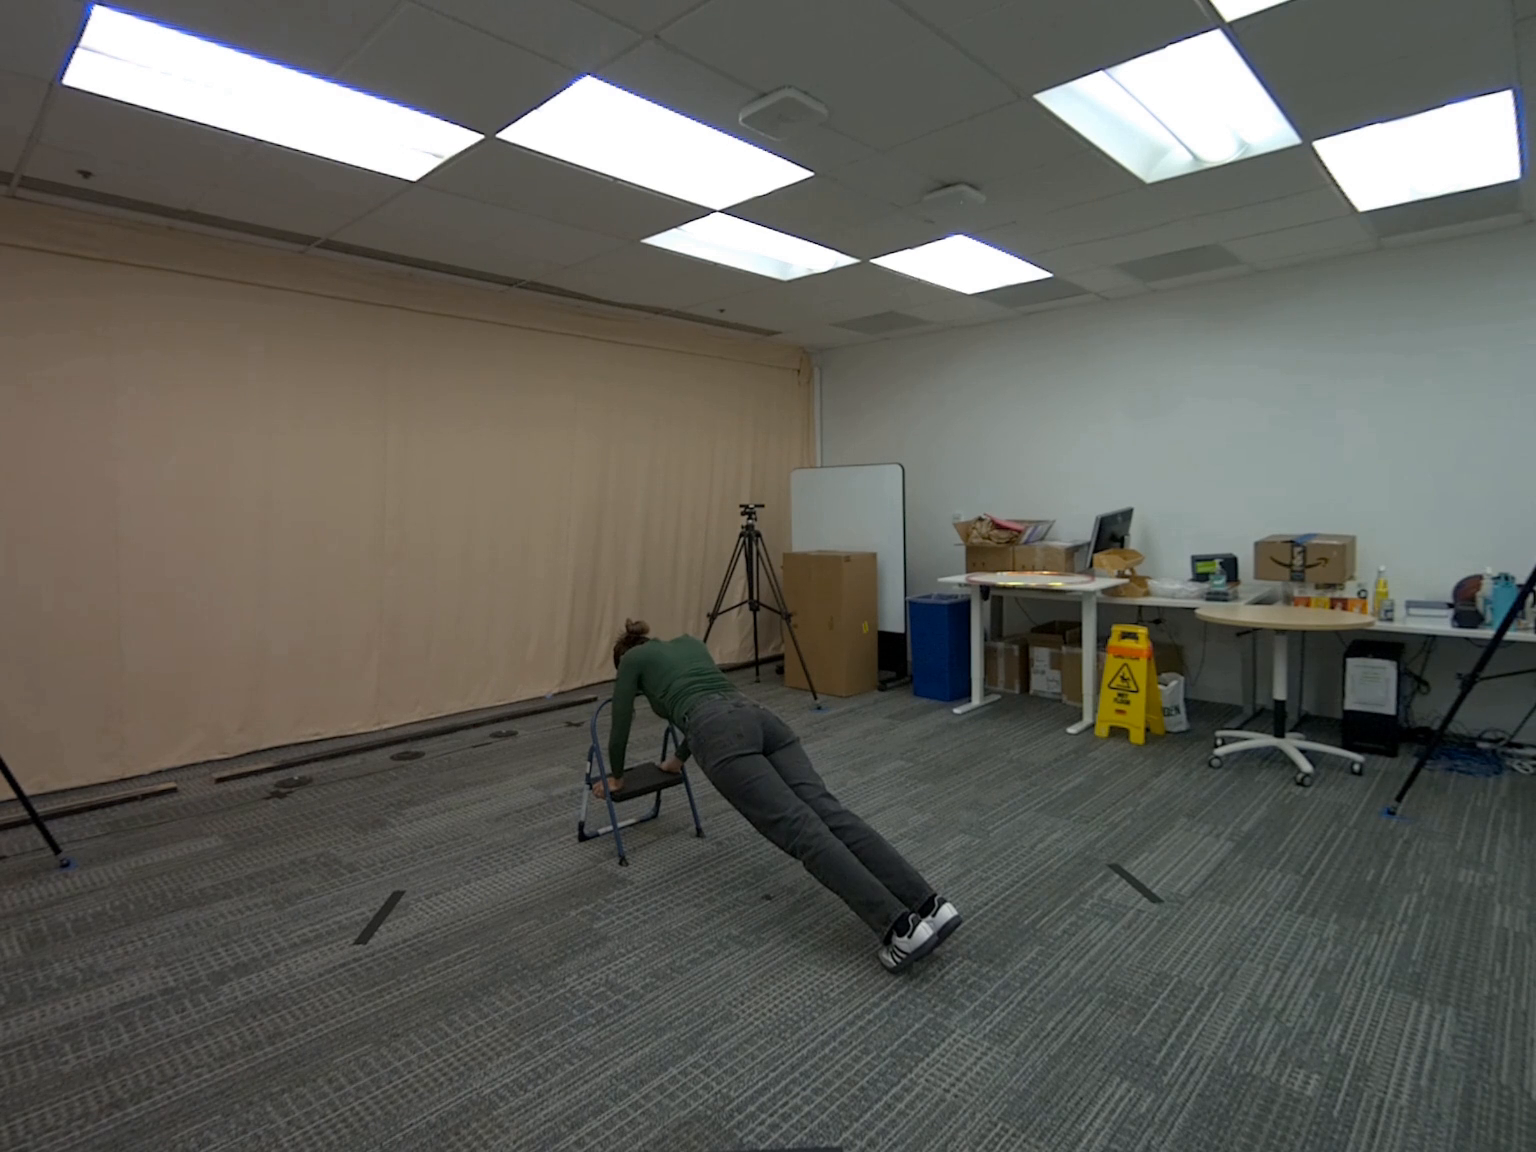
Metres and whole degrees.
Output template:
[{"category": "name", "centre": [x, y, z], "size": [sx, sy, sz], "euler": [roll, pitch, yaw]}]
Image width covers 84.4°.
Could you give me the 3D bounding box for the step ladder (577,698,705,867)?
[{"category": "step ladder", "centre": [-0.539, 0.804, 3.524], "size": [0.417, 0.605, 0.361], "euler": [-4, 4, -43]}]
